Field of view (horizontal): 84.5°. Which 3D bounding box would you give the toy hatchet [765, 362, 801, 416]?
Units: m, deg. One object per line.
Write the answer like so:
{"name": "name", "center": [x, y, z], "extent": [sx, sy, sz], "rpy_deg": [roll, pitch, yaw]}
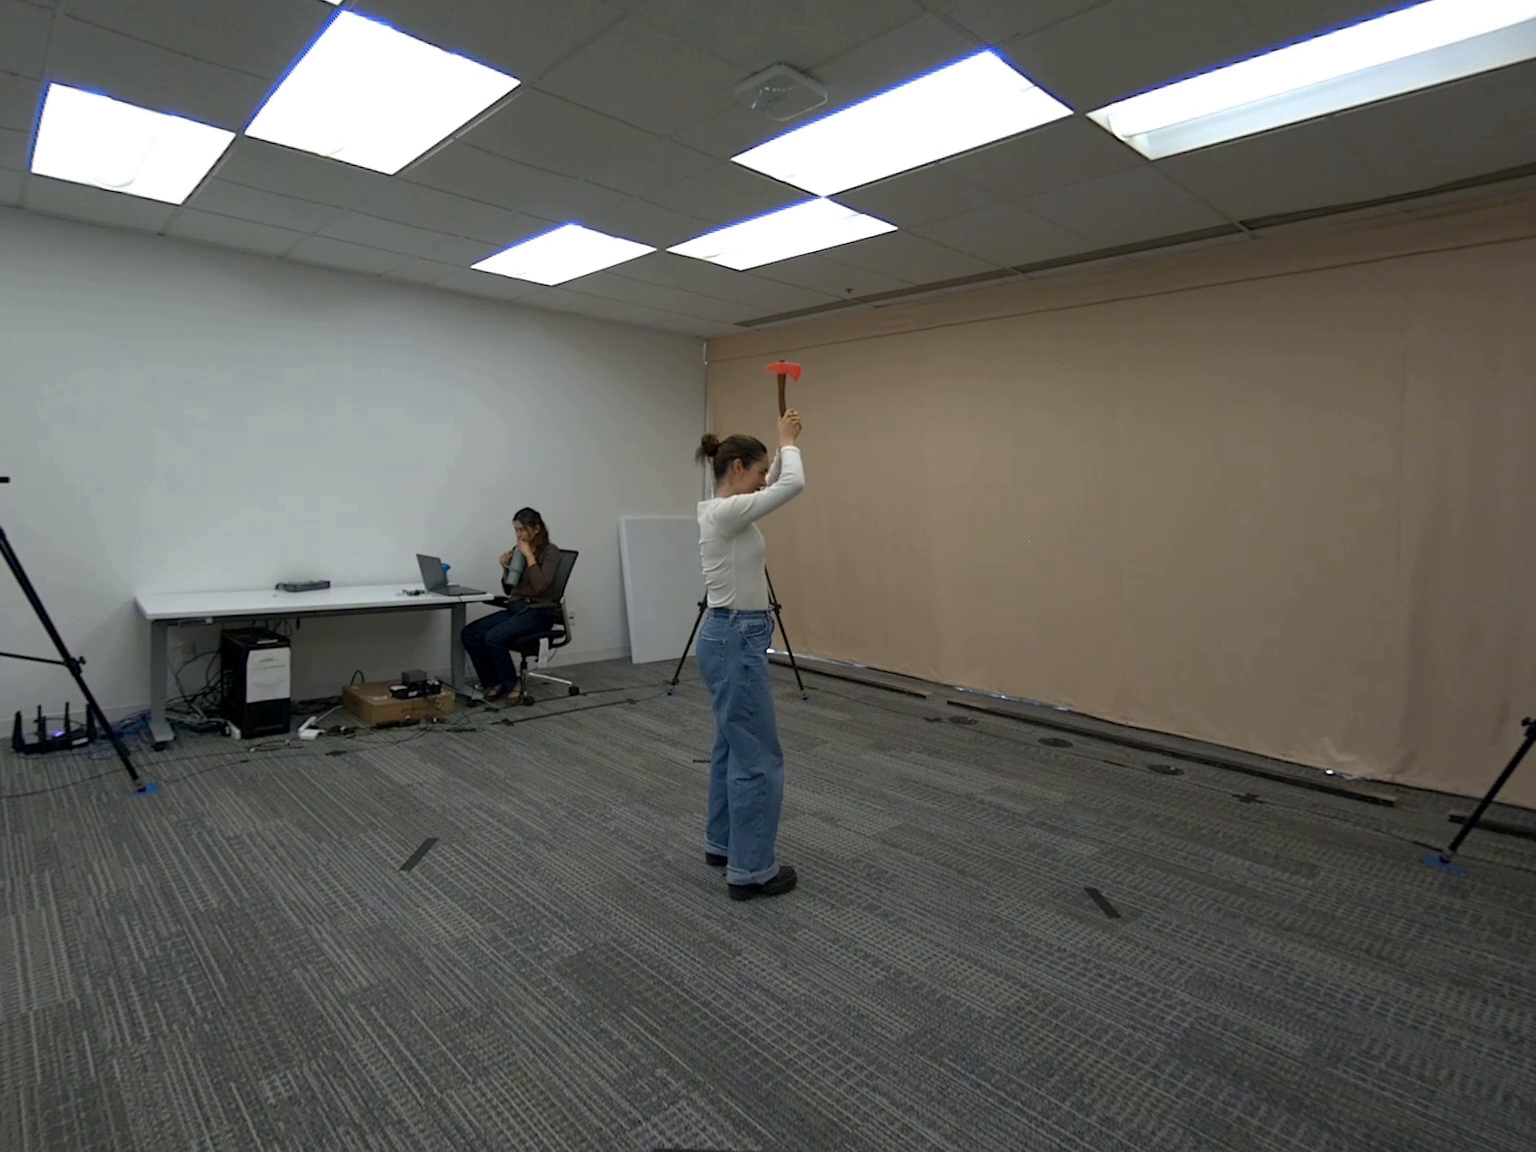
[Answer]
{"name": "toy hatchet", "center": [0.078, -0.654, 3.038], "extent": [0.131, 0.268, 0.030], "rpy_deg": [-18, 8, 3]}
